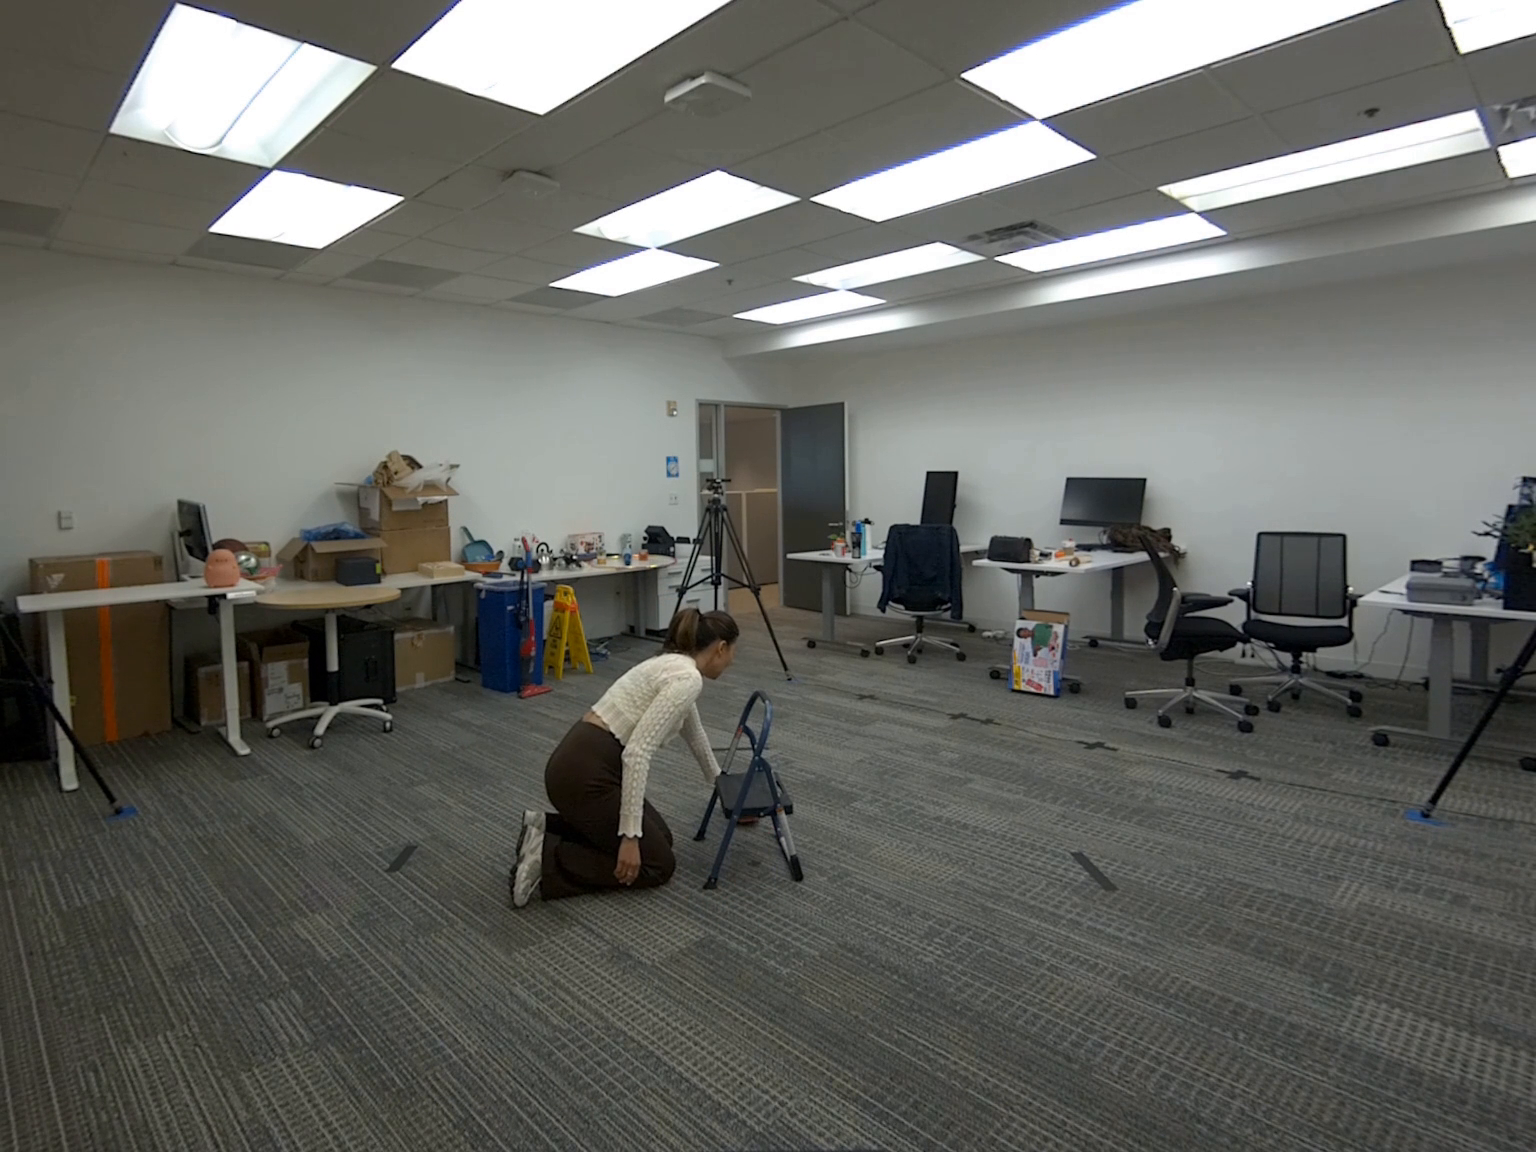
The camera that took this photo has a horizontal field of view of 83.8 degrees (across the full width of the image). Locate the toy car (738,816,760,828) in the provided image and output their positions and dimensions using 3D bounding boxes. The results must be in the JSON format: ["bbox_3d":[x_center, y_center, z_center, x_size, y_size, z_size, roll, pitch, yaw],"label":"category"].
[{"bbox_3d":[-0.100,0.966,3.525,0.129,0.084,0.256,-2,-6,-14],"label":"toy car"}]
